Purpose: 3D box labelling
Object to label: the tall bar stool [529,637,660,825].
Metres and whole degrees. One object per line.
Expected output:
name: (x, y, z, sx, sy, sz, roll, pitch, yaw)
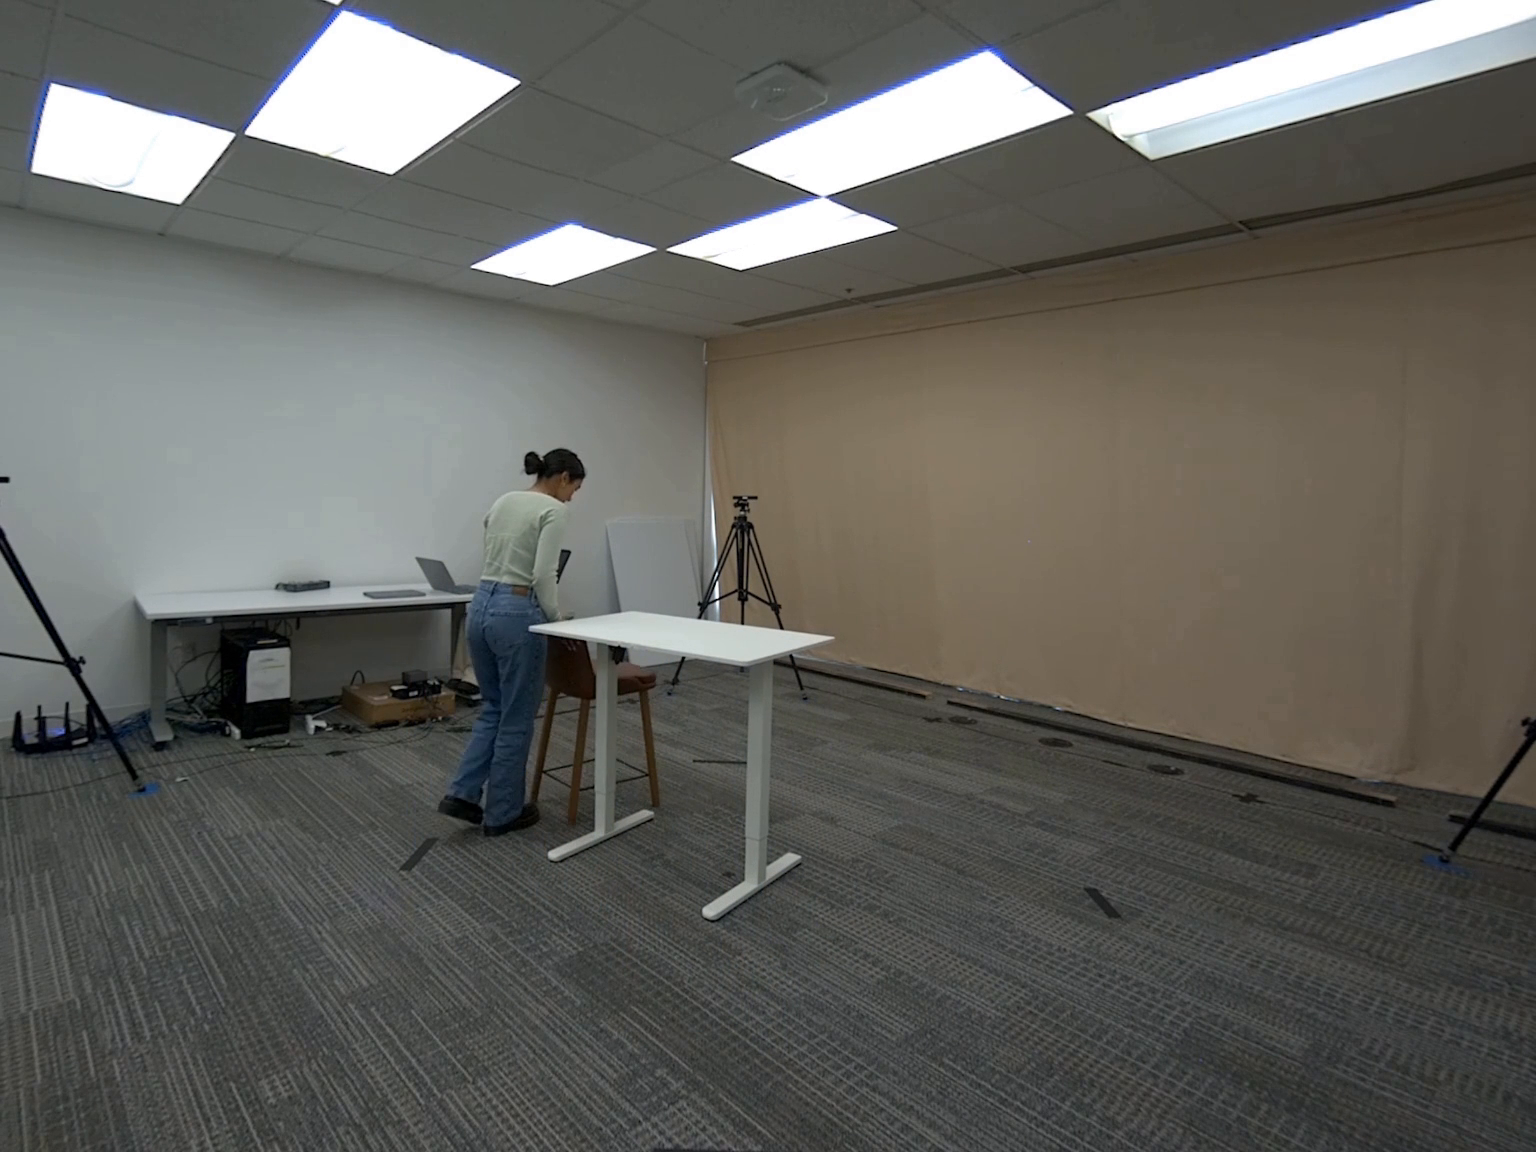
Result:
tall bar stool: (-0.791, 0.596, 3.772, 0.457, 0.887, 0.468, -5, 6, -41)
